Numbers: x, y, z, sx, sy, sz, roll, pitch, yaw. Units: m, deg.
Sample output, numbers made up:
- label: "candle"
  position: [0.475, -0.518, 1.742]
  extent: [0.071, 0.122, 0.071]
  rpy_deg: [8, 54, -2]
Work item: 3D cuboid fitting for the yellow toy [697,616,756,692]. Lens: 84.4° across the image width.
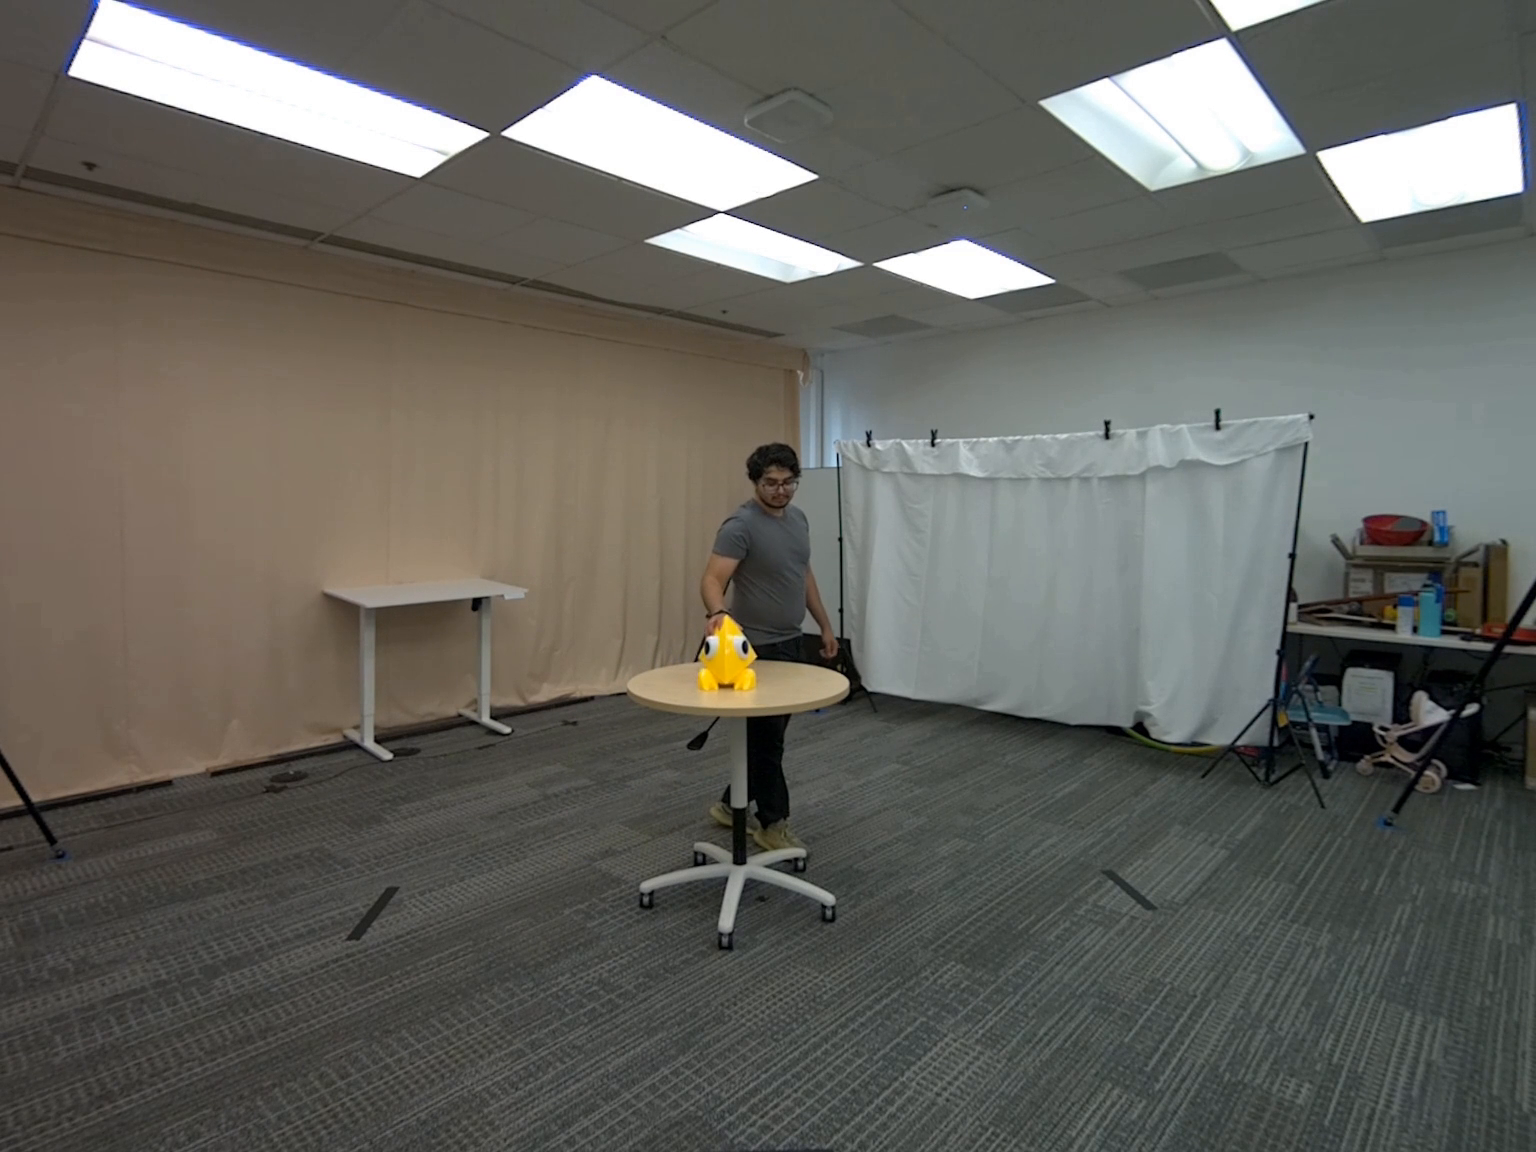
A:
- label: "yellow toy"
  position: [-0.138, 0.256, 2.860]
  extent: [0.205, 0.230, 0.193]
  rpy_deg: [1, 4, 2]
